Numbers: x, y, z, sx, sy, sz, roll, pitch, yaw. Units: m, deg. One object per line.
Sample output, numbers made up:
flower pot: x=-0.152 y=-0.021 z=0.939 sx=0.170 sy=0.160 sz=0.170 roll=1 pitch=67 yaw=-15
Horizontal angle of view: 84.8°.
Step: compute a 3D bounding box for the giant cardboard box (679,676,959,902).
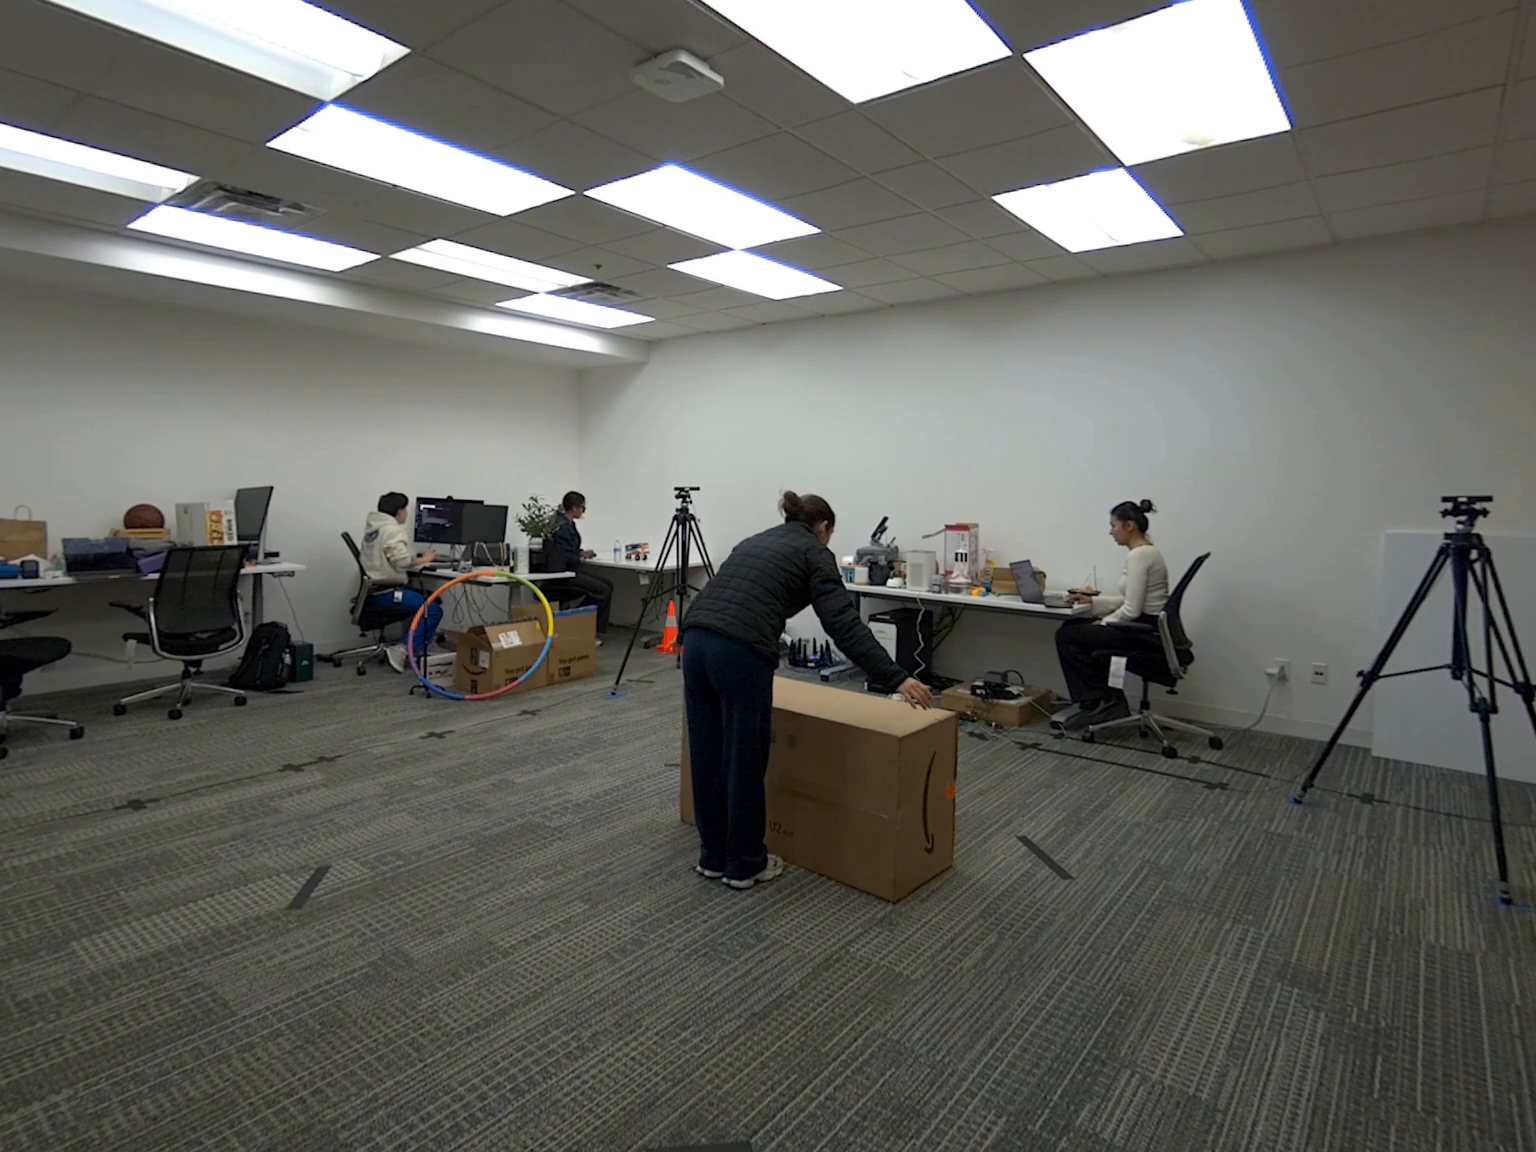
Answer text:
giant cardboard box: x=0.190 y=0.761 z=3.358 sx=1.062 sy=0.581 sz=0.434 roll=6 pitch=7 yaw=42
